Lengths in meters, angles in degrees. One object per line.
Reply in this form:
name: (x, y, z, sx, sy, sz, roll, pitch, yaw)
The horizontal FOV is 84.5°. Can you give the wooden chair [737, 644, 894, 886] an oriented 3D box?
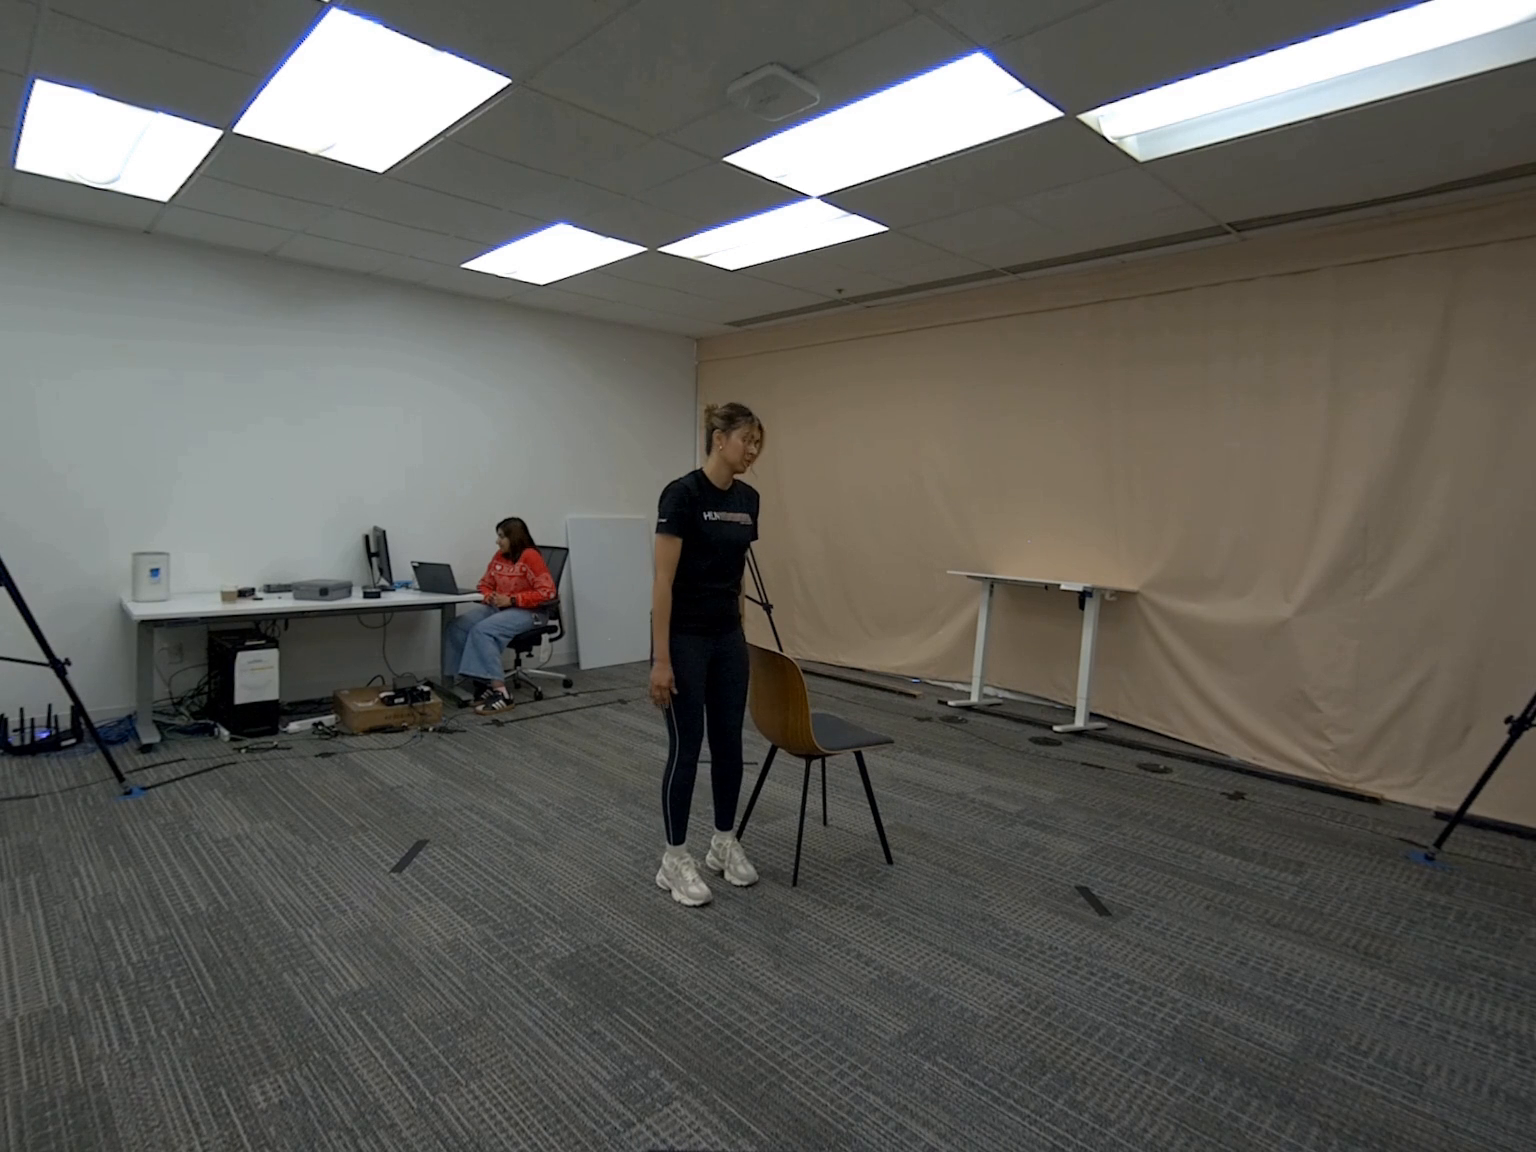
wooden chair: (0.185, 0.668, 3.299, 0.513, 0.874, 0.489, -5, 5, -29)
